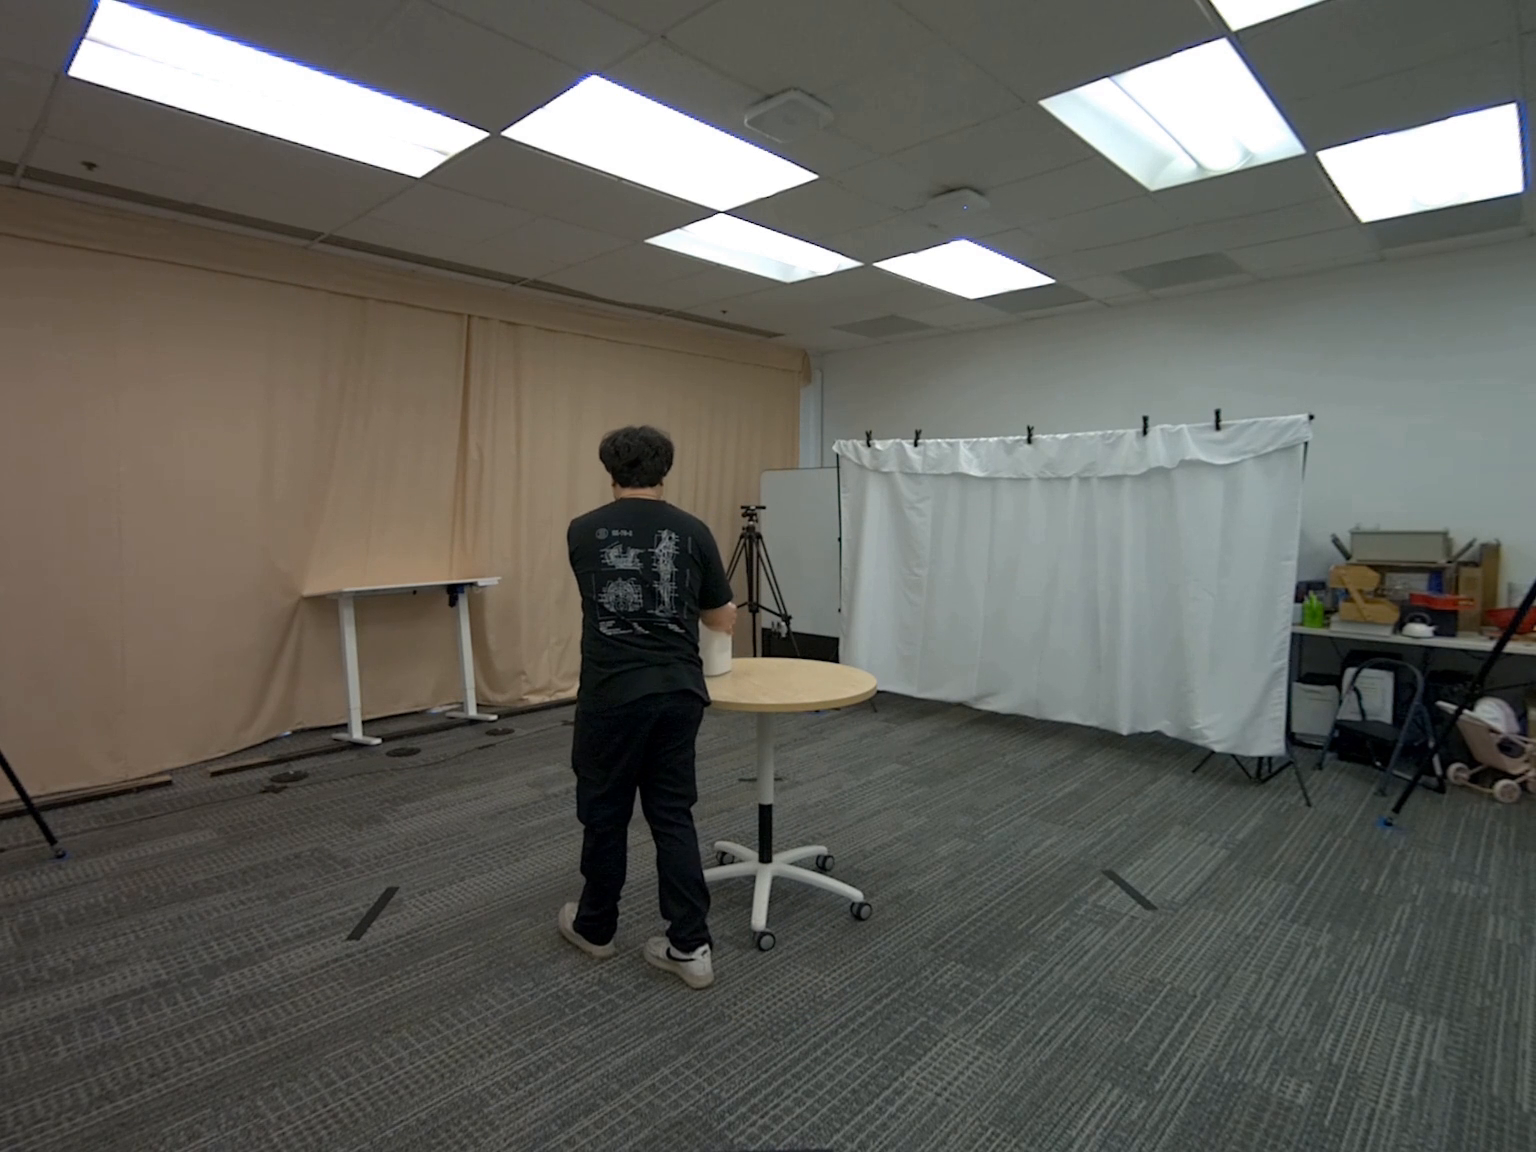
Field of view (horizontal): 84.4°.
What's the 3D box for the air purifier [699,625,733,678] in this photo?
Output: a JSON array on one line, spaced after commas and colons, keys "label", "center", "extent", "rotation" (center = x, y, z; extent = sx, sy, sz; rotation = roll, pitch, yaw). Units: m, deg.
[{"label": "air purifier", "center": [-0.222, 0.211, 3.032], "extent": [0.175, 0.265, 0.168], "rotation": [0, 2, 24]}]
